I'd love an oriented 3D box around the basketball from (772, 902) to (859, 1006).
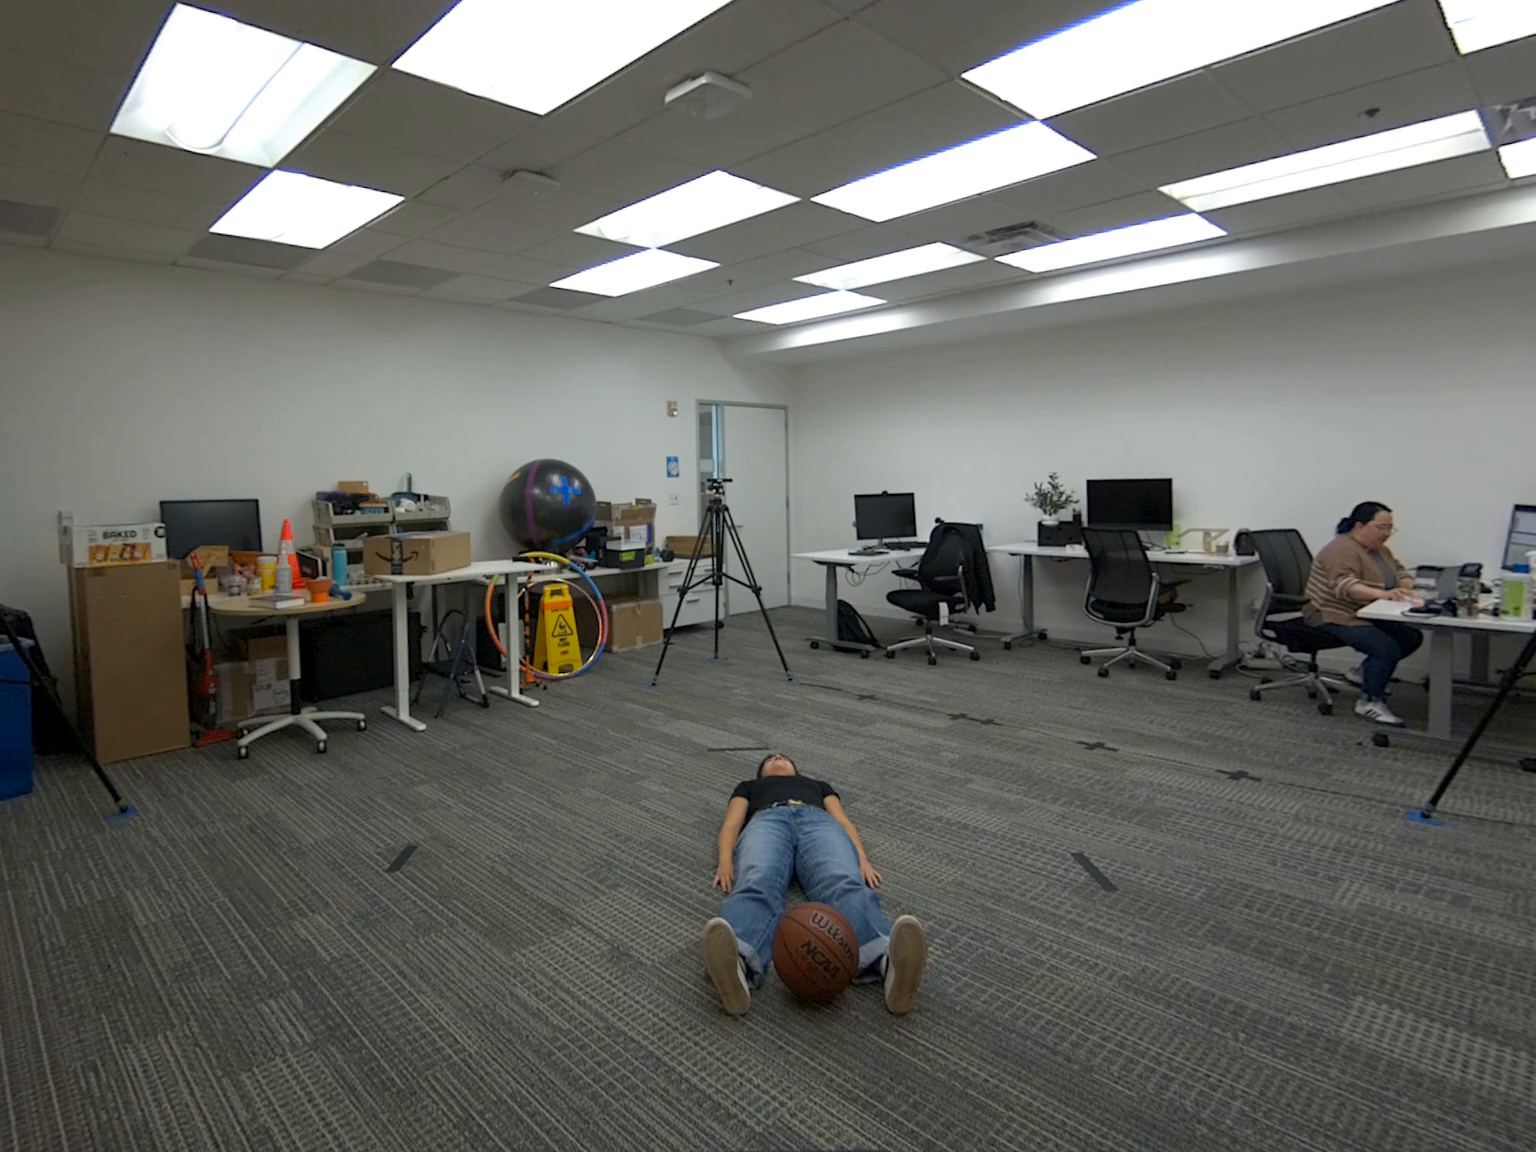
[{"bbox_3d":[0.134,1.011,2.316,0.236,0.235,0.237,-1,5,-2],"label":"basketball"}]
